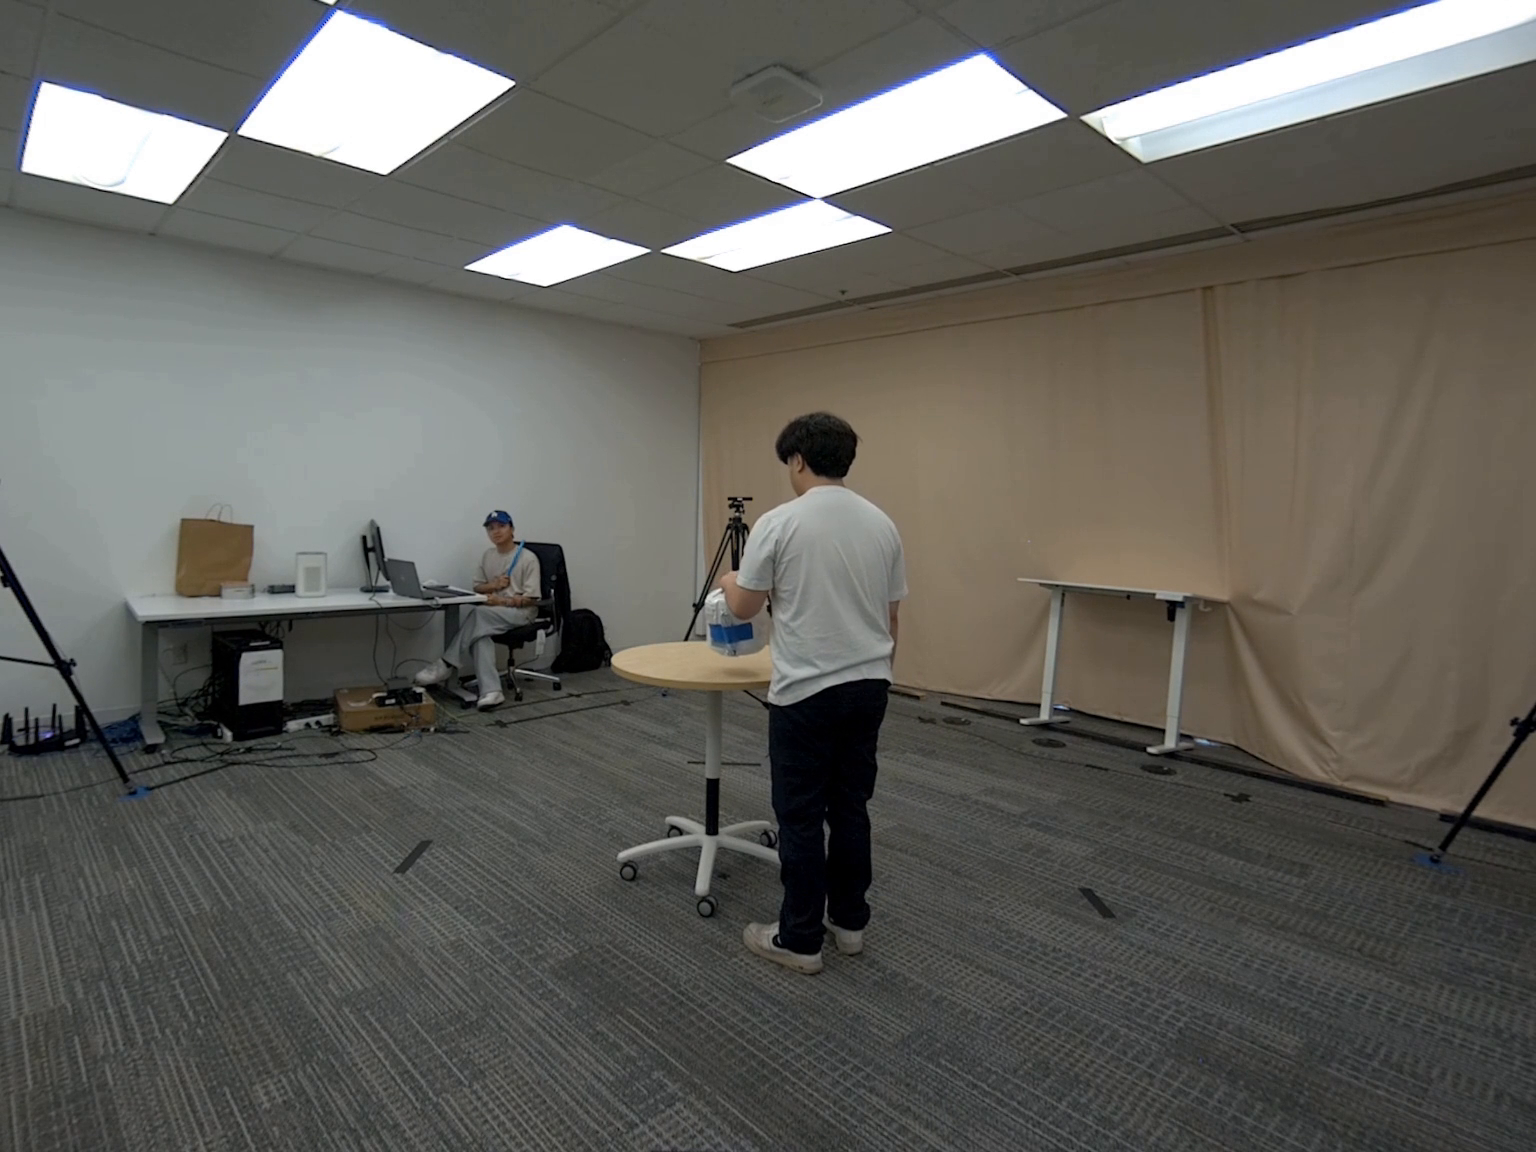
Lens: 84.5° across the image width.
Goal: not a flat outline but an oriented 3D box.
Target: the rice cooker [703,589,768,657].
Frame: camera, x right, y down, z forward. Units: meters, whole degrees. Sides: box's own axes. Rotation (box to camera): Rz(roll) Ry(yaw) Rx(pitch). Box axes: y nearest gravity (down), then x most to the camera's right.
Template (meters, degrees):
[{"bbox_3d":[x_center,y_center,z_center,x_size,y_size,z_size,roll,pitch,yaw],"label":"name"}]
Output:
[{"bbox_3d":[-0.120,0.141,2.874,0.216,0.231,0.223,-5,10,-31],"label":"rice cooker"}]
